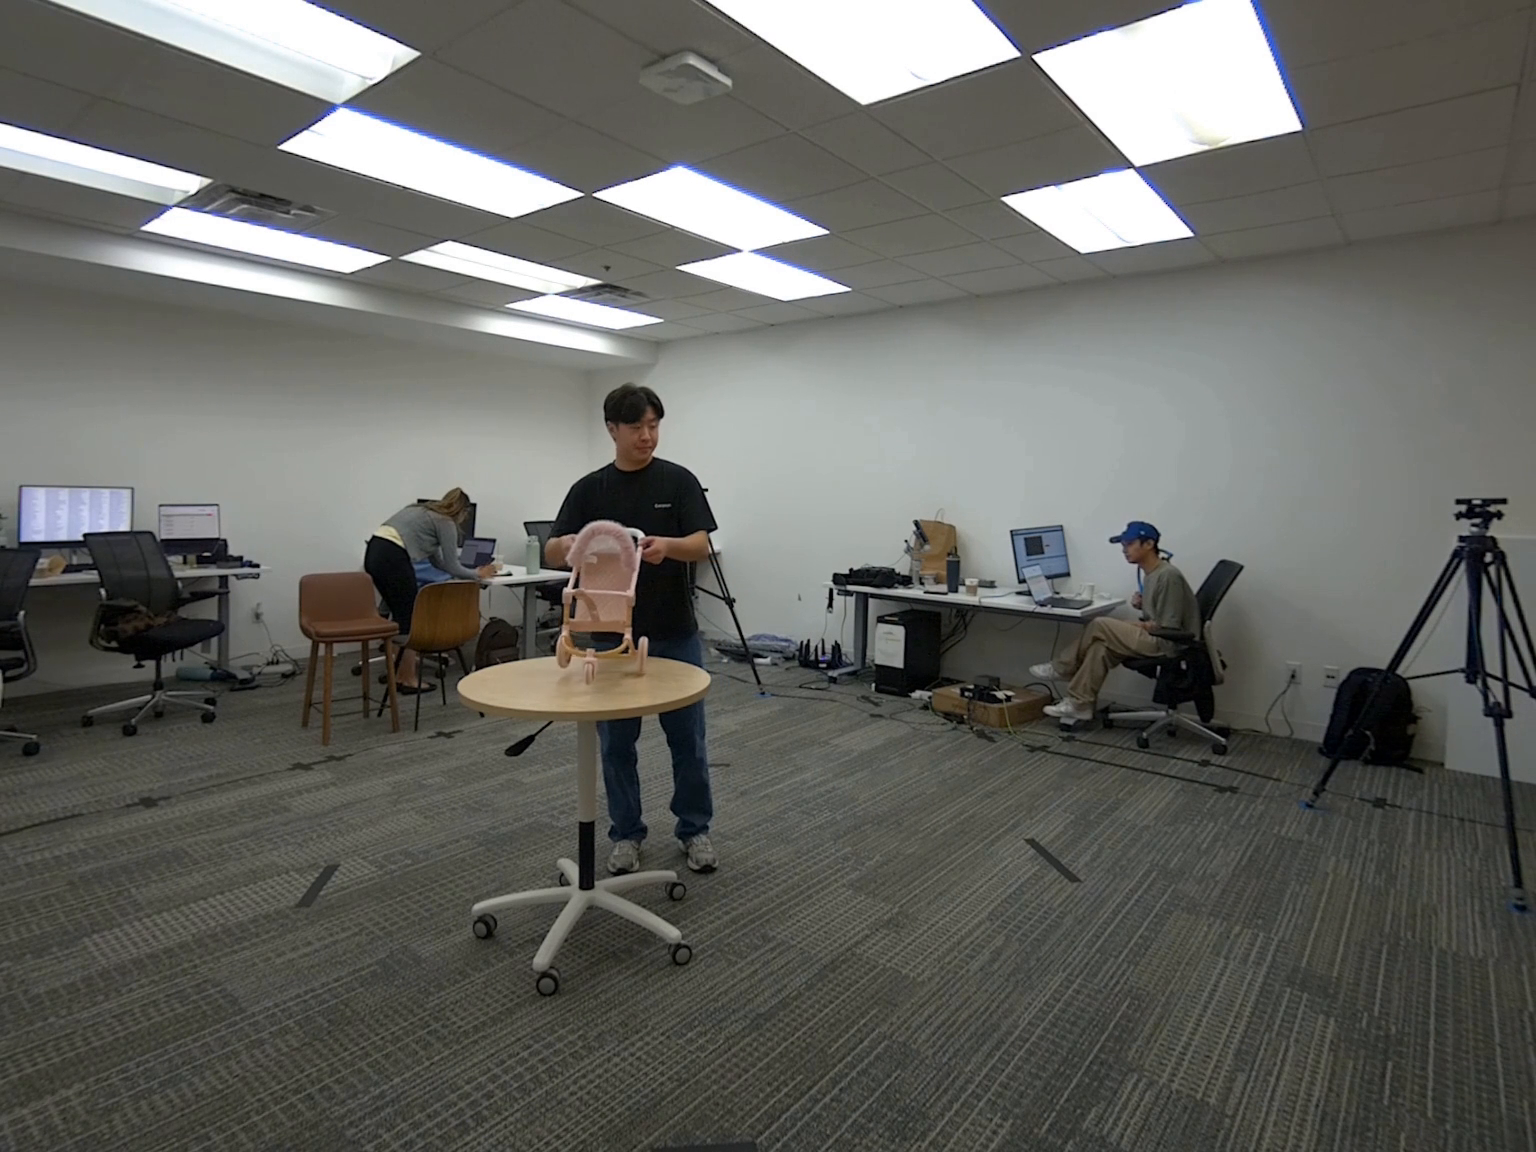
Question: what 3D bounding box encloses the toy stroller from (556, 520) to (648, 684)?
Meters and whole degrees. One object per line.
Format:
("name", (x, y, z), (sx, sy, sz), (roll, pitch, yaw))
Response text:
("toy stroller", (-0.516, 0.070, 2.610), (0.283, 0.541, 0.336), (1, -12, 3))
